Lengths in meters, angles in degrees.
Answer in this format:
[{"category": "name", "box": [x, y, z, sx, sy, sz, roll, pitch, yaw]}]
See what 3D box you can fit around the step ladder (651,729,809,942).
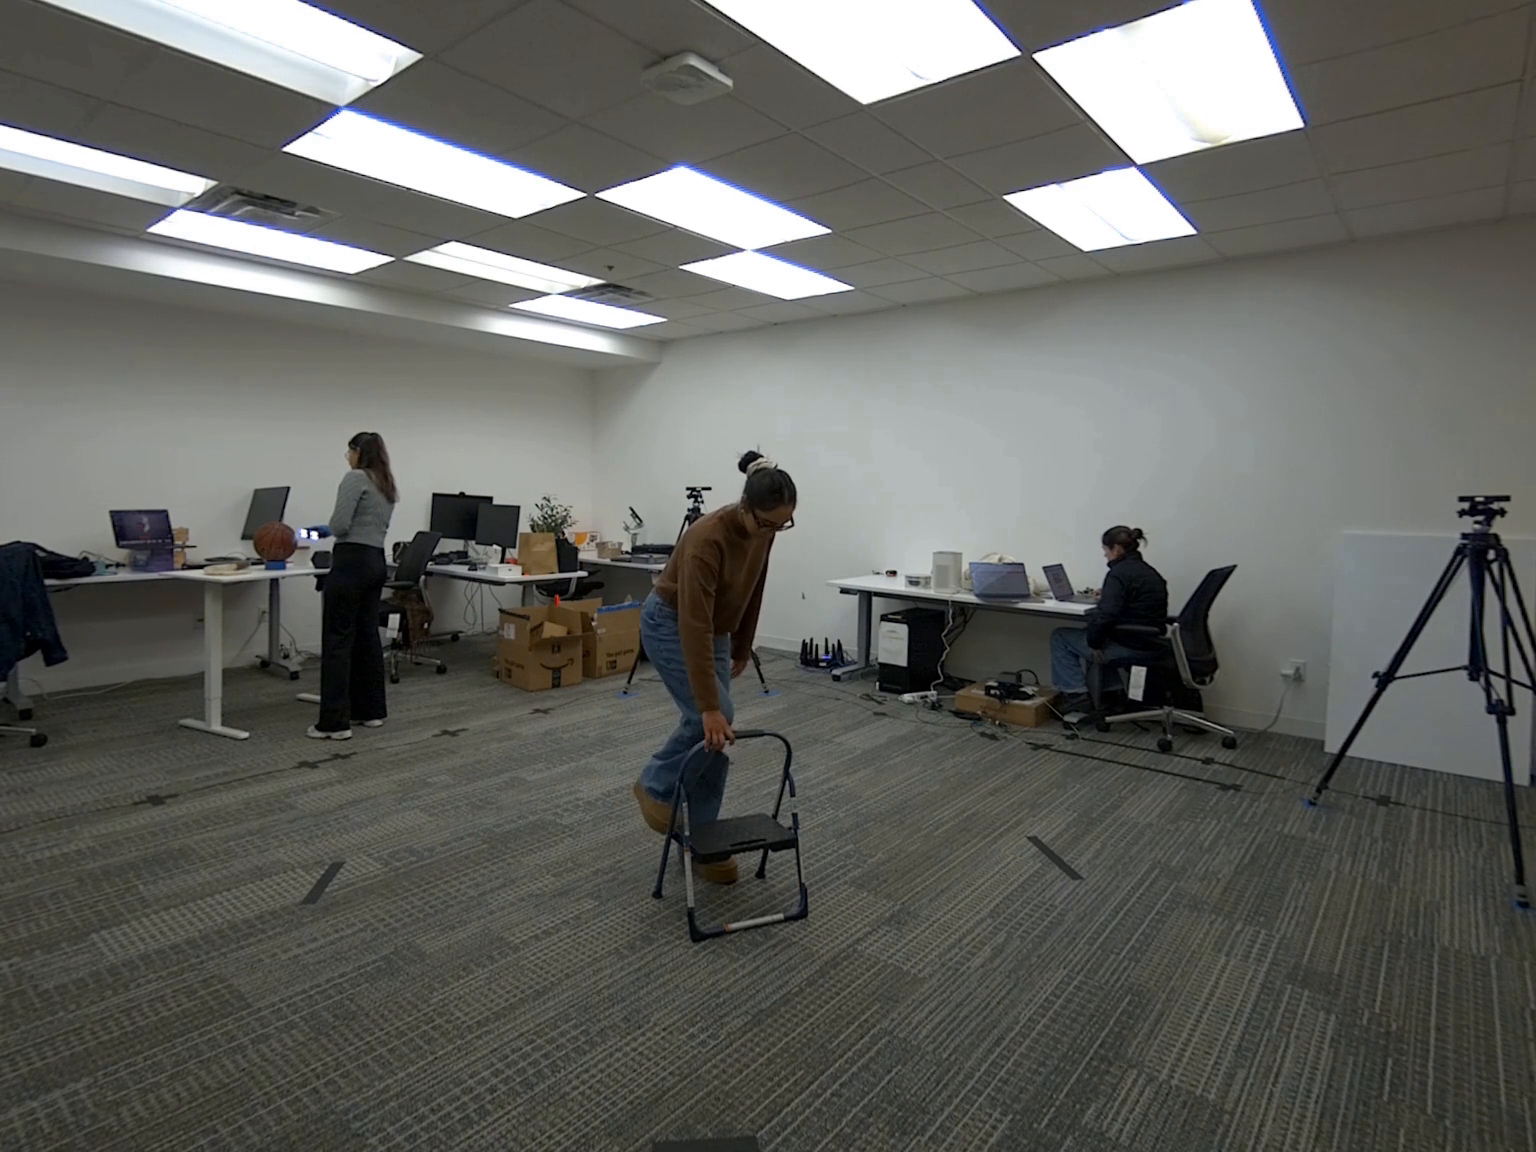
[{"category": "step ladder", "box": [-0.134, 0.793, 2.819, 0.420, 0.604, 0.359, -1, 3, -27]}]
